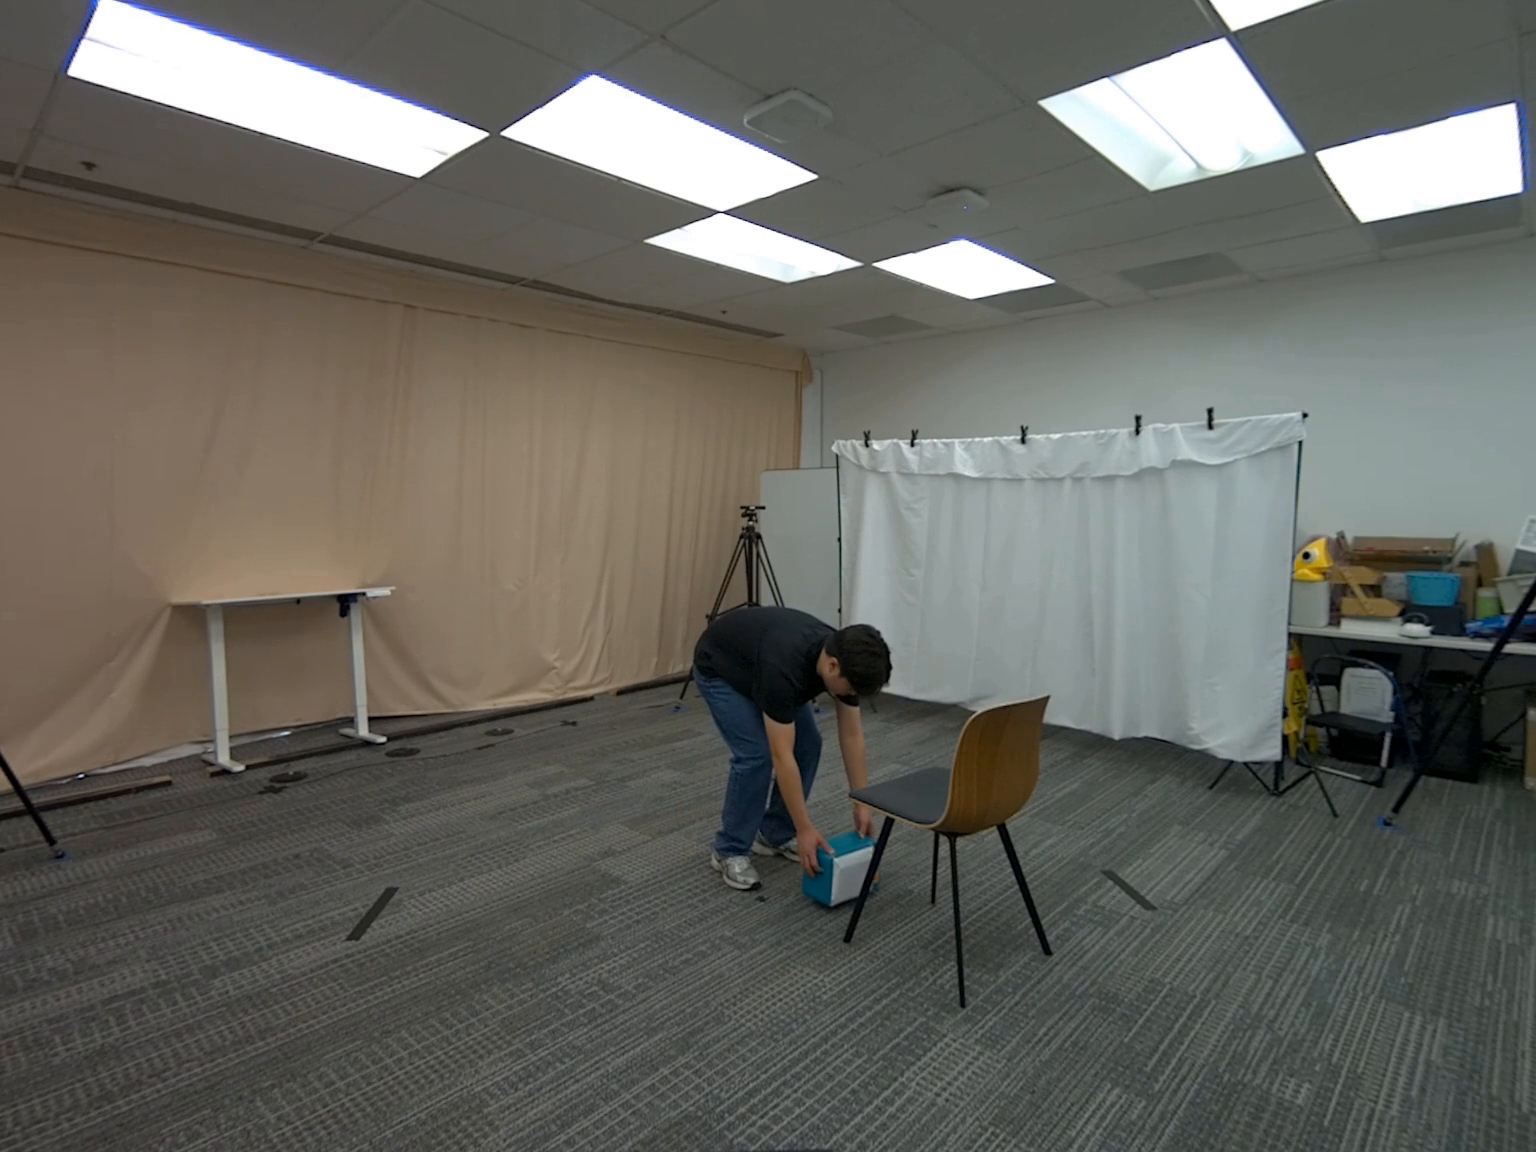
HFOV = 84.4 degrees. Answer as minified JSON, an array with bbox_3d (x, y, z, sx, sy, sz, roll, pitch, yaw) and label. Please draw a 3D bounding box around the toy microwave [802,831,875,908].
[{"bbox_3d":[0.273,1.036,2.981,0.277,0.184,0.157,1,3,-41],"label":"toy microwave"}]
